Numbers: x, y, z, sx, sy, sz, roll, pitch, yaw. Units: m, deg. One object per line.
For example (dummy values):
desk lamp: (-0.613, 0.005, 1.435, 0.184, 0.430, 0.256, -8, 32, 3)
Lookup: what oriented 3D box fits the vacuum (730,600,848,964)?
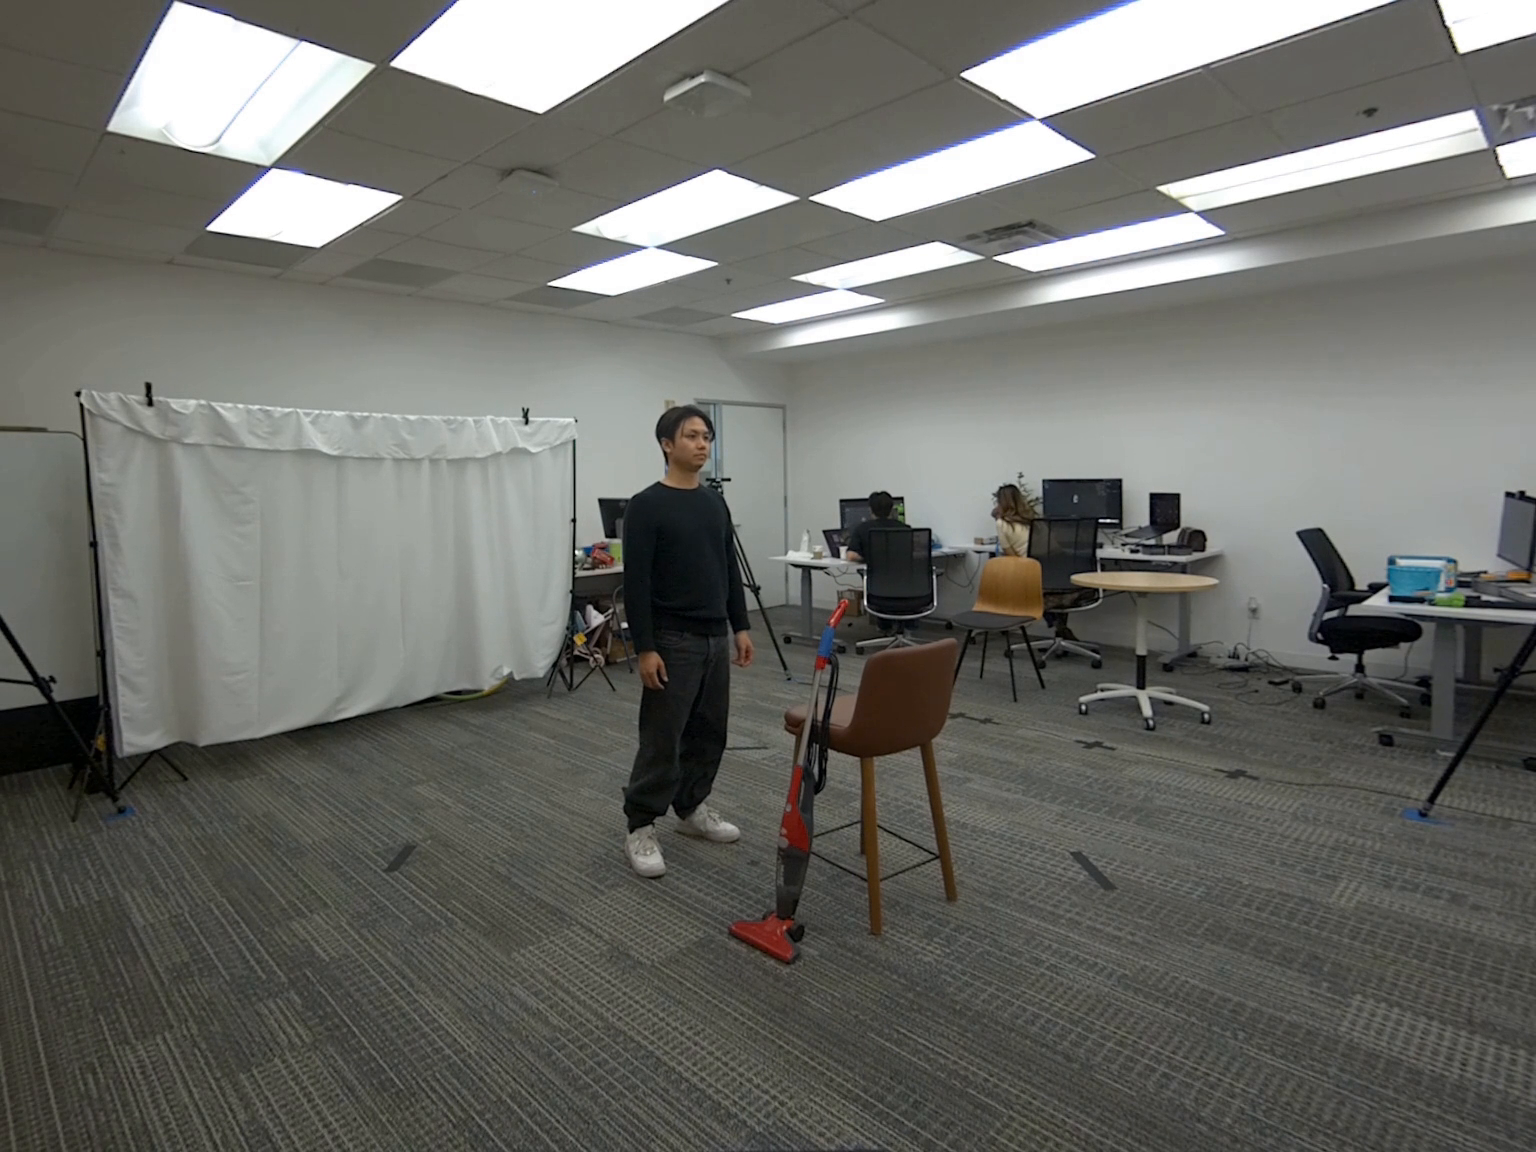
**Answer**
vacuum: (0.134, 0.596, 2.669, 0.260, 1.056, 0.139, 3, -13, 42)
